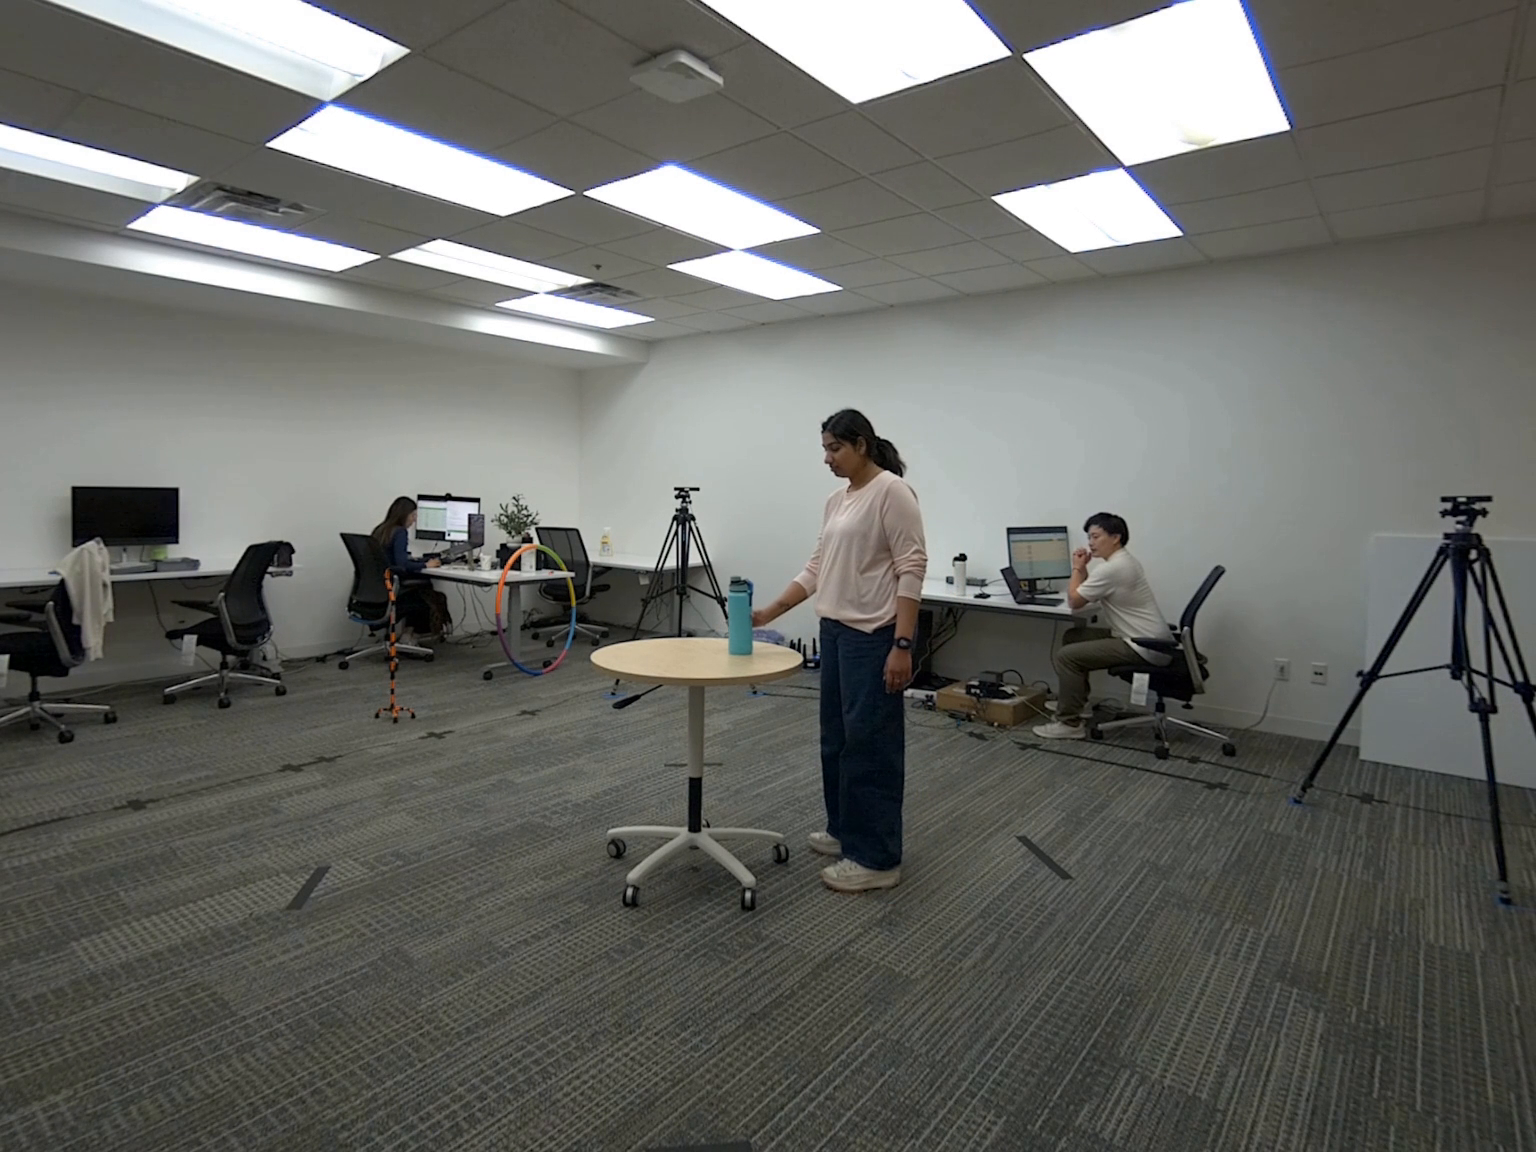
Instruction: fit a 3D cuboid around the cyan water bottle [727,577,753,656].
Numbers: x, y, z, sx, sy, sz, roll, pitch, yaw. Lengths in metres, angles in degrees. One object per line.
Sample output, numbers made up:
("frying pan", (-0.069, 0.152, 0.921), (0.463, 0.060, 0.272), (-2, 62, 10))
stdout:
("cyan water bottle", (-0.105, 0.139, 3.133), (0.092, 0.282, 0.093), (1, 3, -2))
